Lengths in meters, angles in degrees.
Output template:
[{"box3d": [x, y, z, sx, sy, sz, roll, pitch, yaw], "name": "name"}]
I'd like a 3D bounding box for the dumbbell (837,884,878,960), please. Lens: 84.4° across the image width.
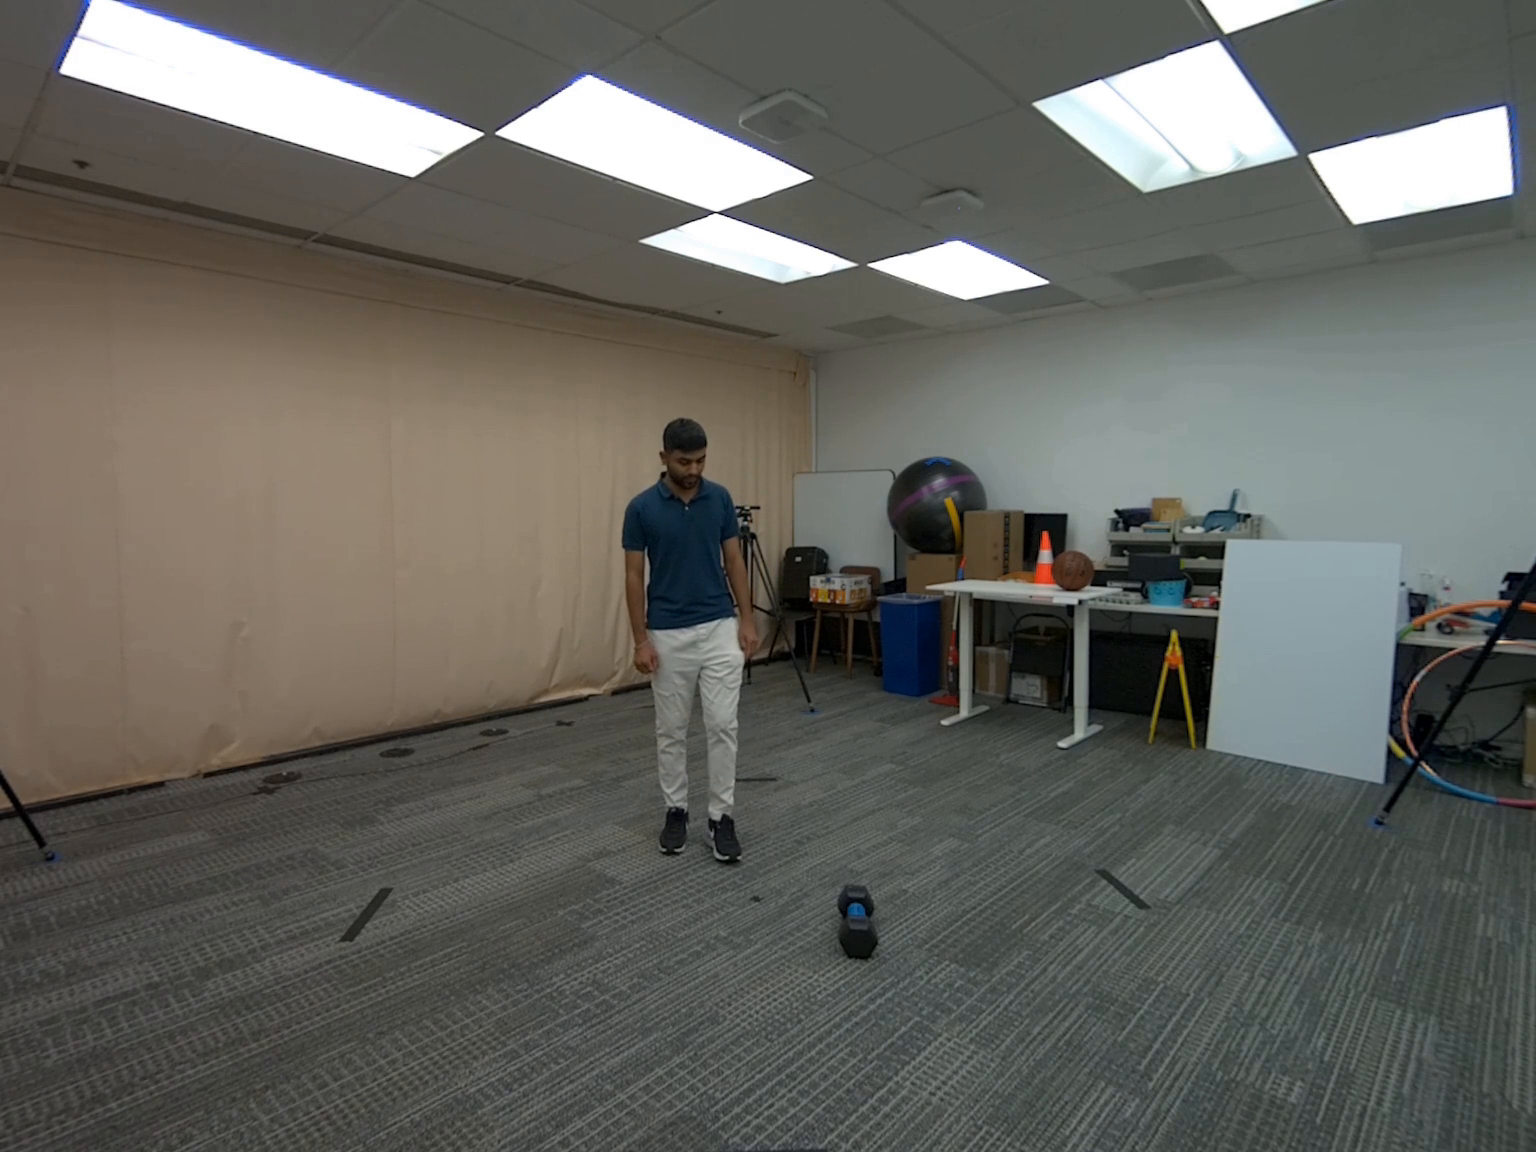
[{"box3d": [0.293, 1.113, 2.715, 0.109, 0.123, 0.292, -29, 2, 6], "name": "dumbbell"}]
